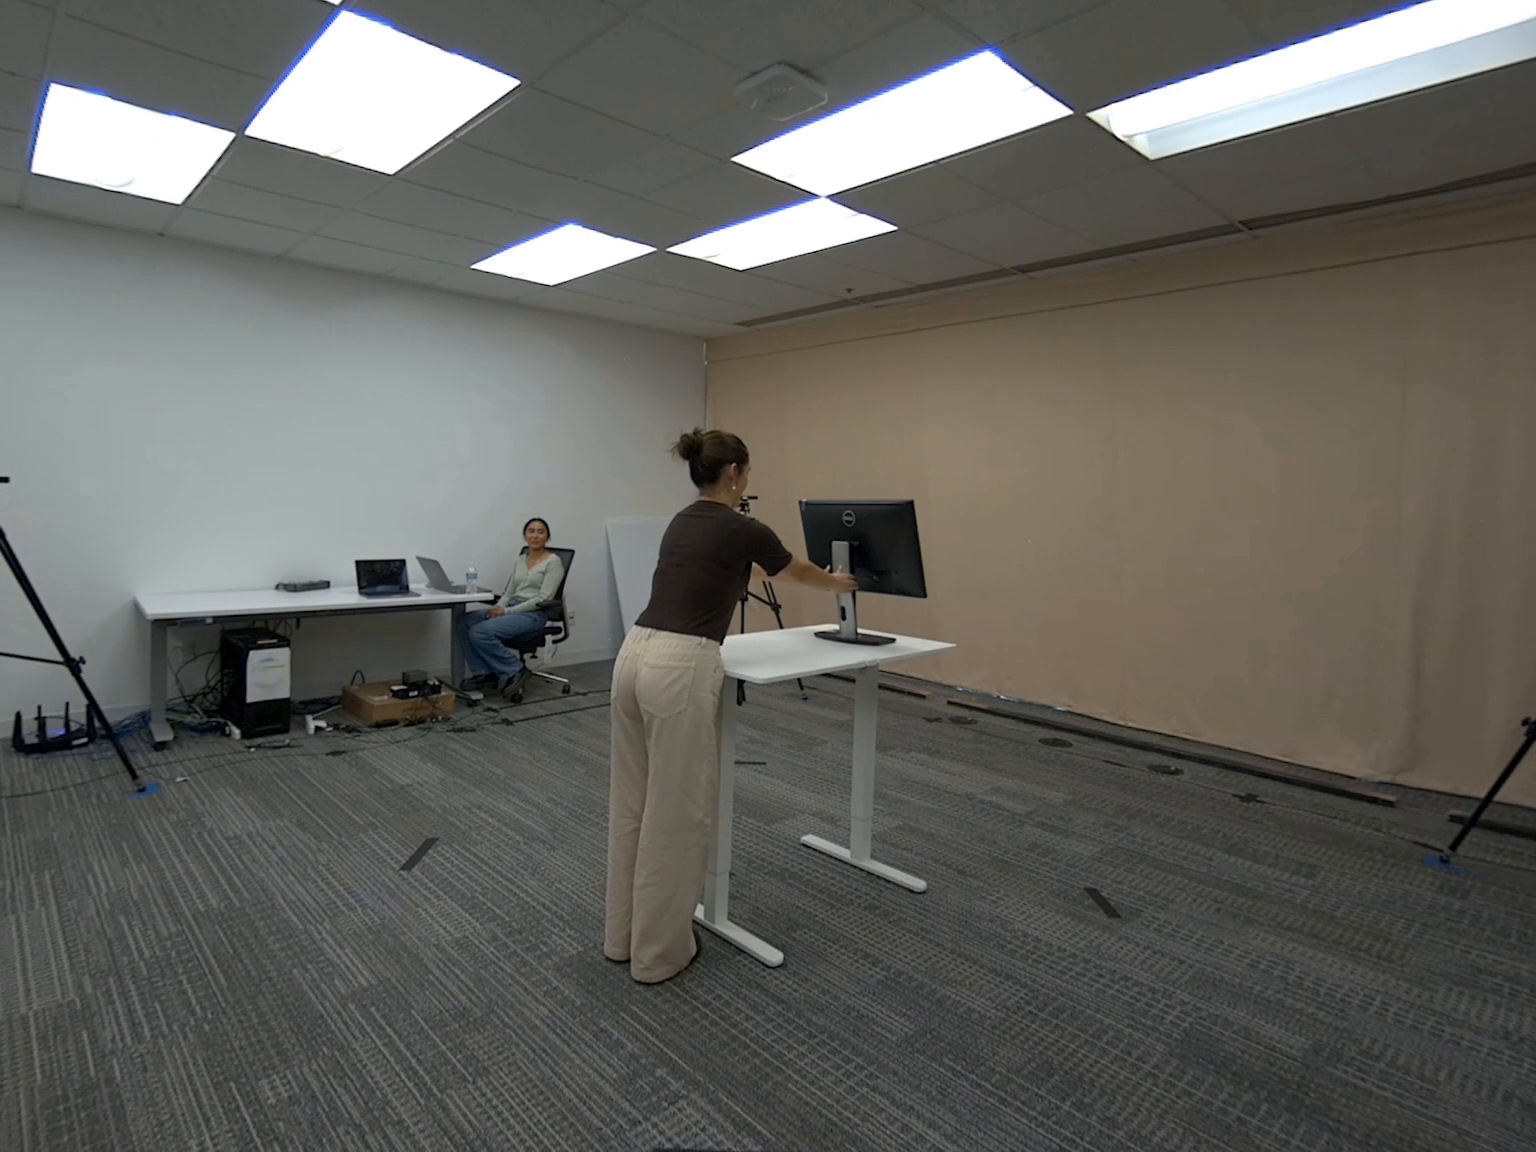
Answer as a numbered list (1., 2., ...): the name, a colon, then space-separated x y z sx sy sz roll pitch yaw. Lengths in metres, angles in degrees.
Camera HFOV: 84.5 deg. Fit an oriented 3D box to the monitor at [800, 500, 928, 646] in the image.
1. monitor: 0.312 -0.016 3.075 0.183 0.521 0.553 -5 7 -44
